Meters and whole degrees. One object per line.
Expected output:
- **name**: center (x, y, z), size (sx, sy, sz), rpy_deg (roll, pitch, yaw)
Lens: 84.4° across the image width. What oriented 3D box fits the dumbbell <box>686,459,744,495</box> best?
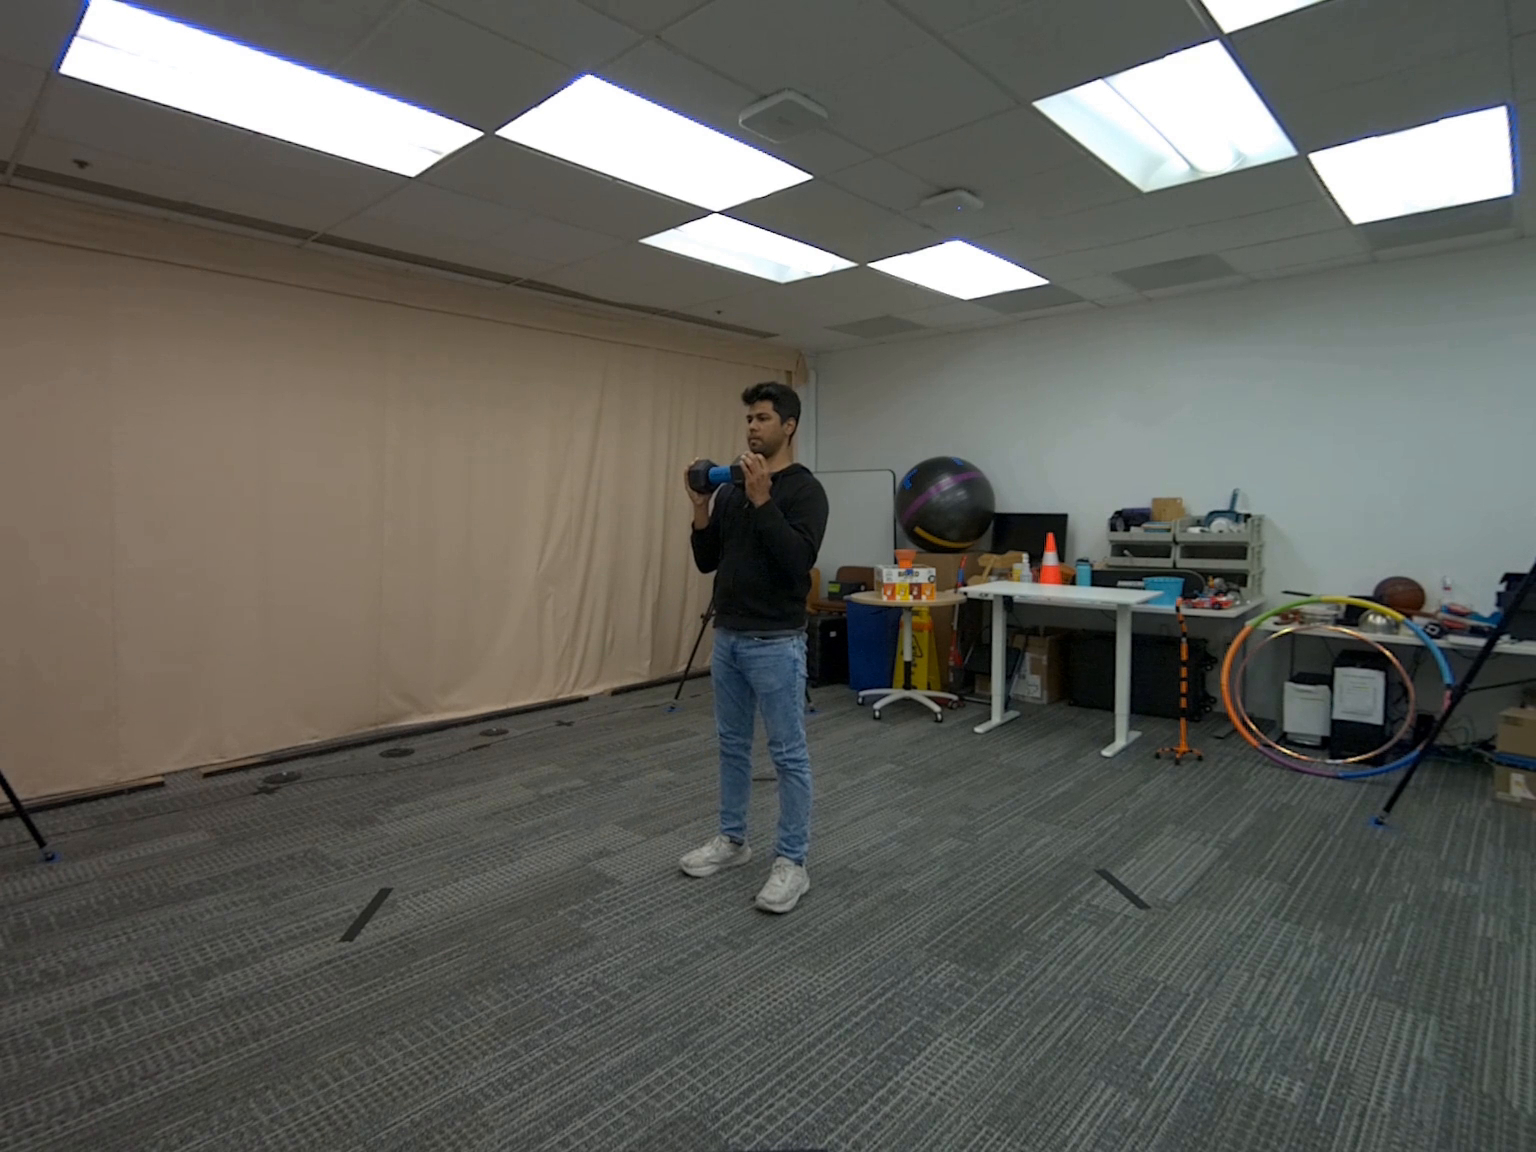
- **dumbbell**: center (-0.139, -0.350, 2.937), size (0.303, 0.122, 0.106), rpy_deg (0, 9, 45)
